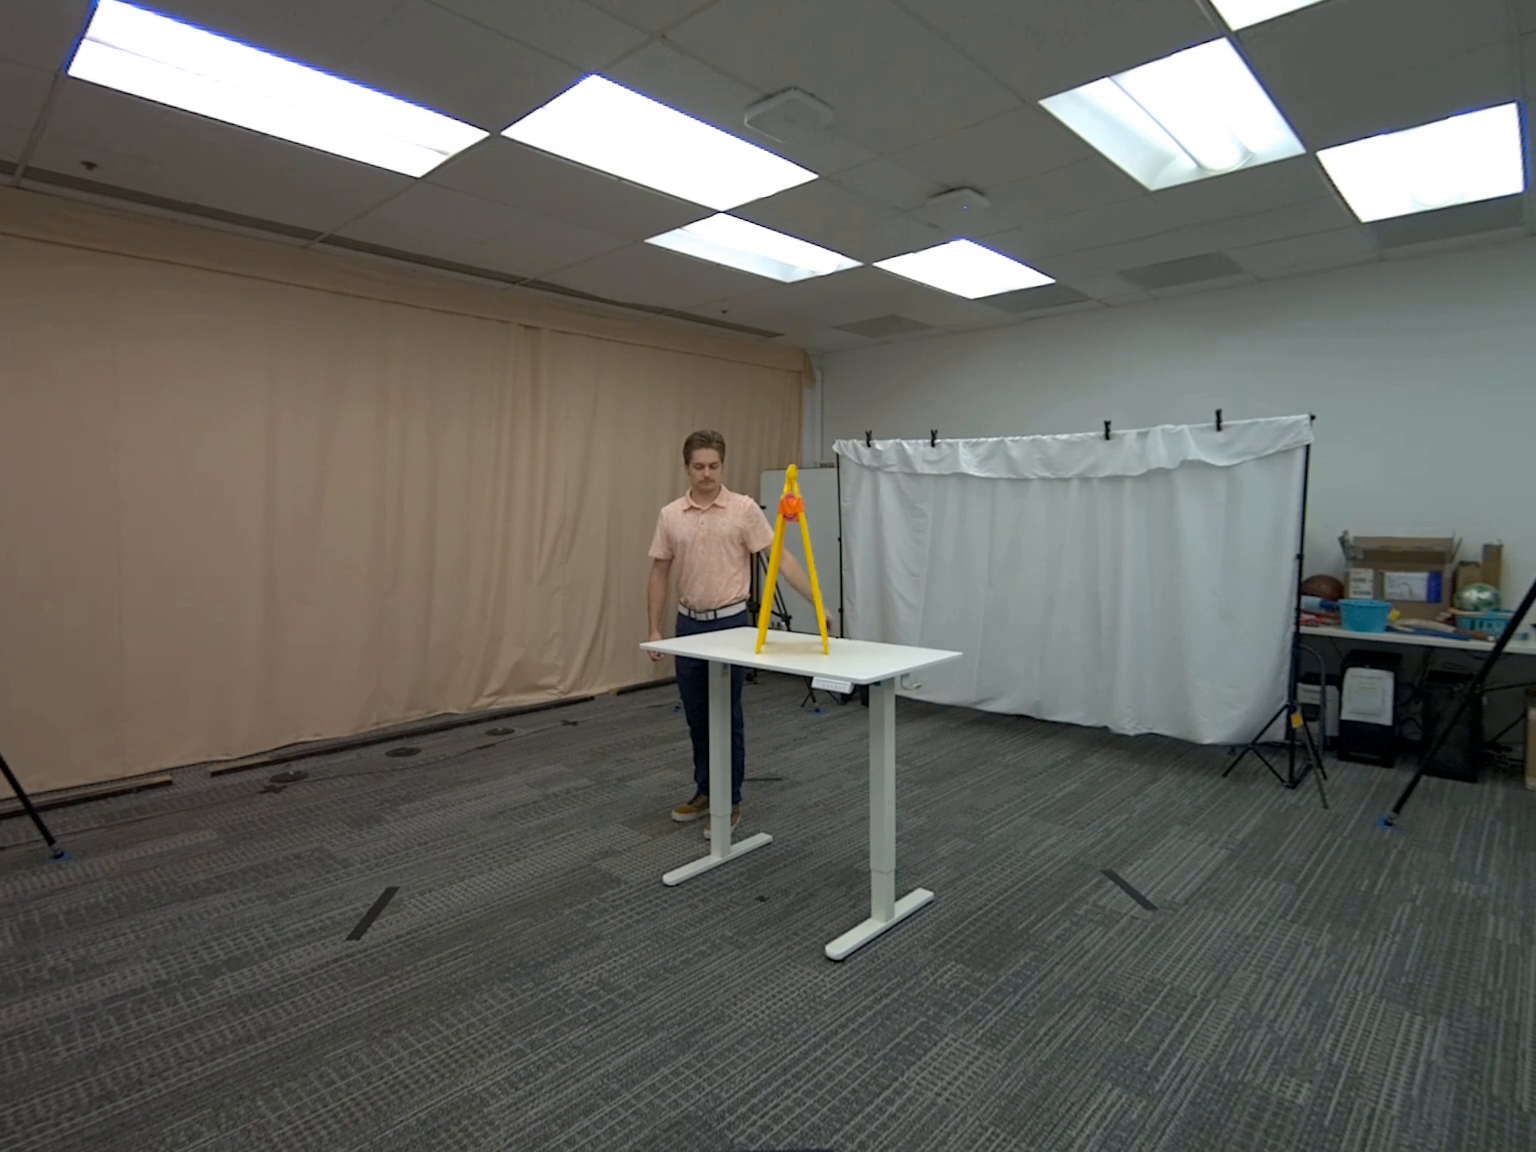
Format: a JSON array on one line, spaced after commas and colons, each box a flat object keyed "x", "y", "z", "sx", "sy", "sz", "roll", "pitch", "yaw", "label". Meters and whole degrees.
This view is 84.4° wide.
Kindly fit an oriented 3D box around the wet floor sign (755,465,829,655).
[{"x": 0.092, "y": -0.066, "z": 3.006, "sx": 0.291, "sy": 0.645, "sz": 0.281, "roll": -1, "pitch": 2, "yaw": 5, "label": "wet floor sign"}]
